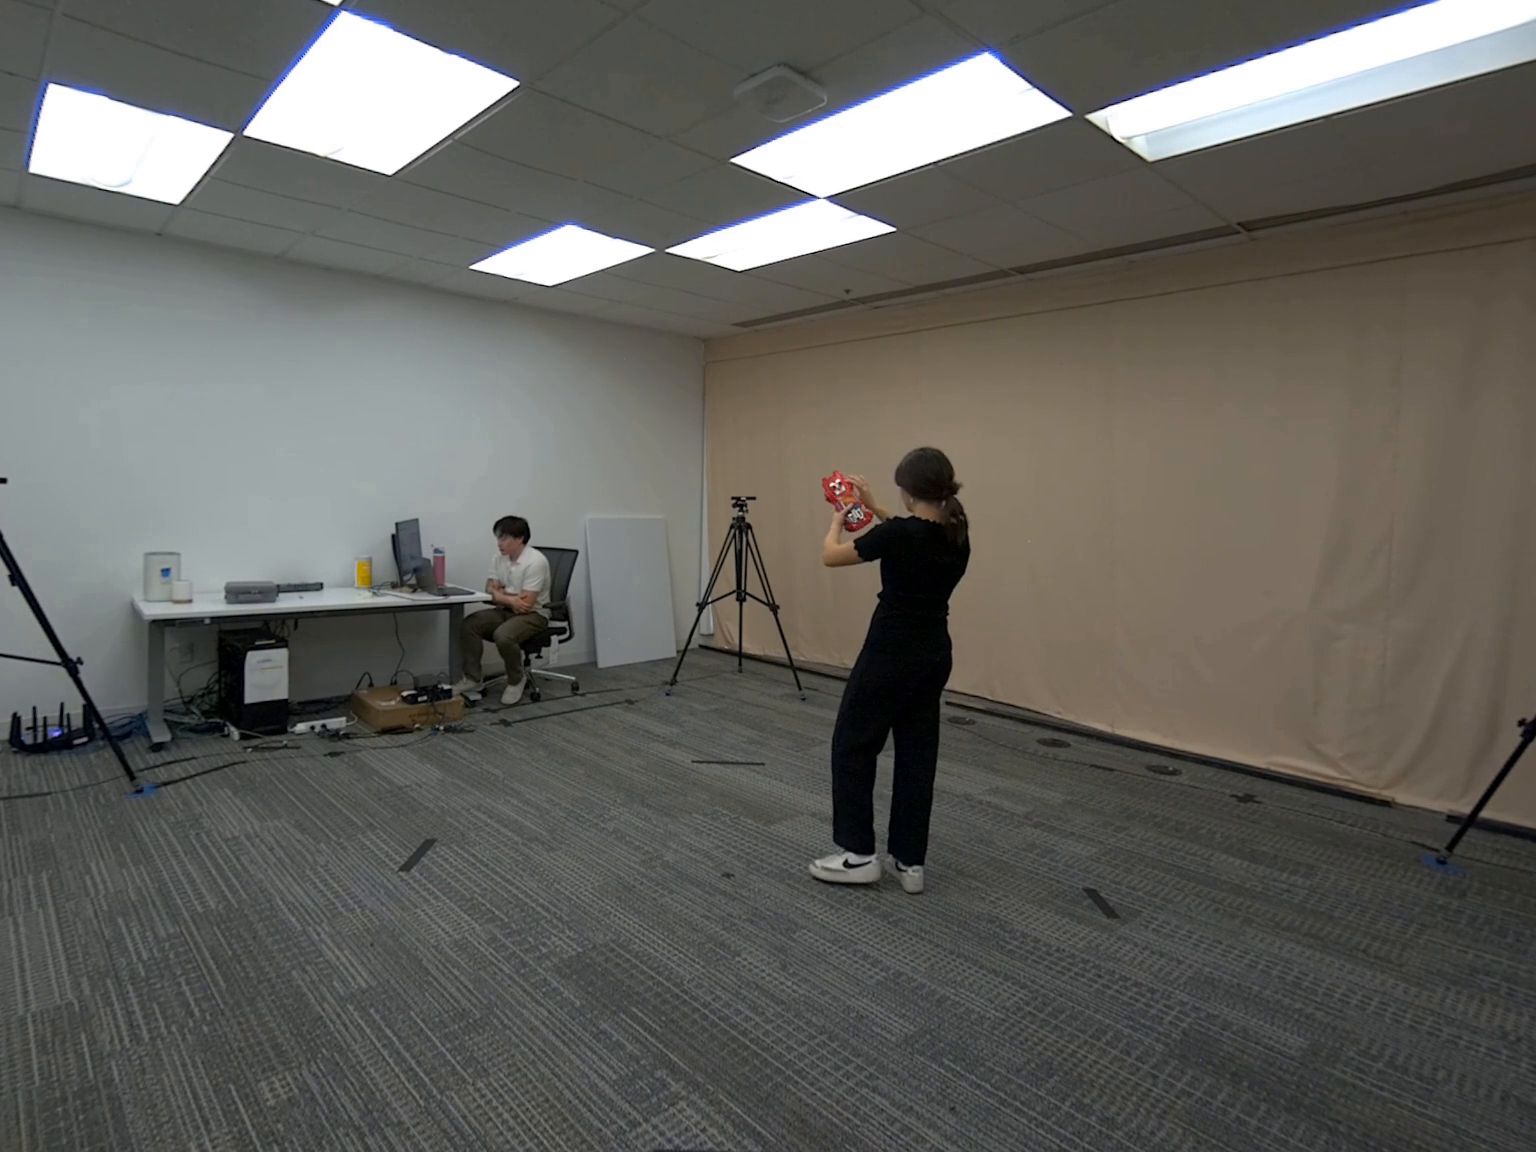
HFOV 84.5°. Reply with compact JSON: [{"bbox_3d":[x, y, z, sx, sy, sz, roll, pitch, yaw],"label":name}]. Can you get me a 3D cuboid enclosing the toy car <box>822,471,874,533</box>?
[{"bbox_3d":[0.301,-0.307,3.395,0.130,0.255,0.083,-31,-2,0],"label":"toy car"}]
